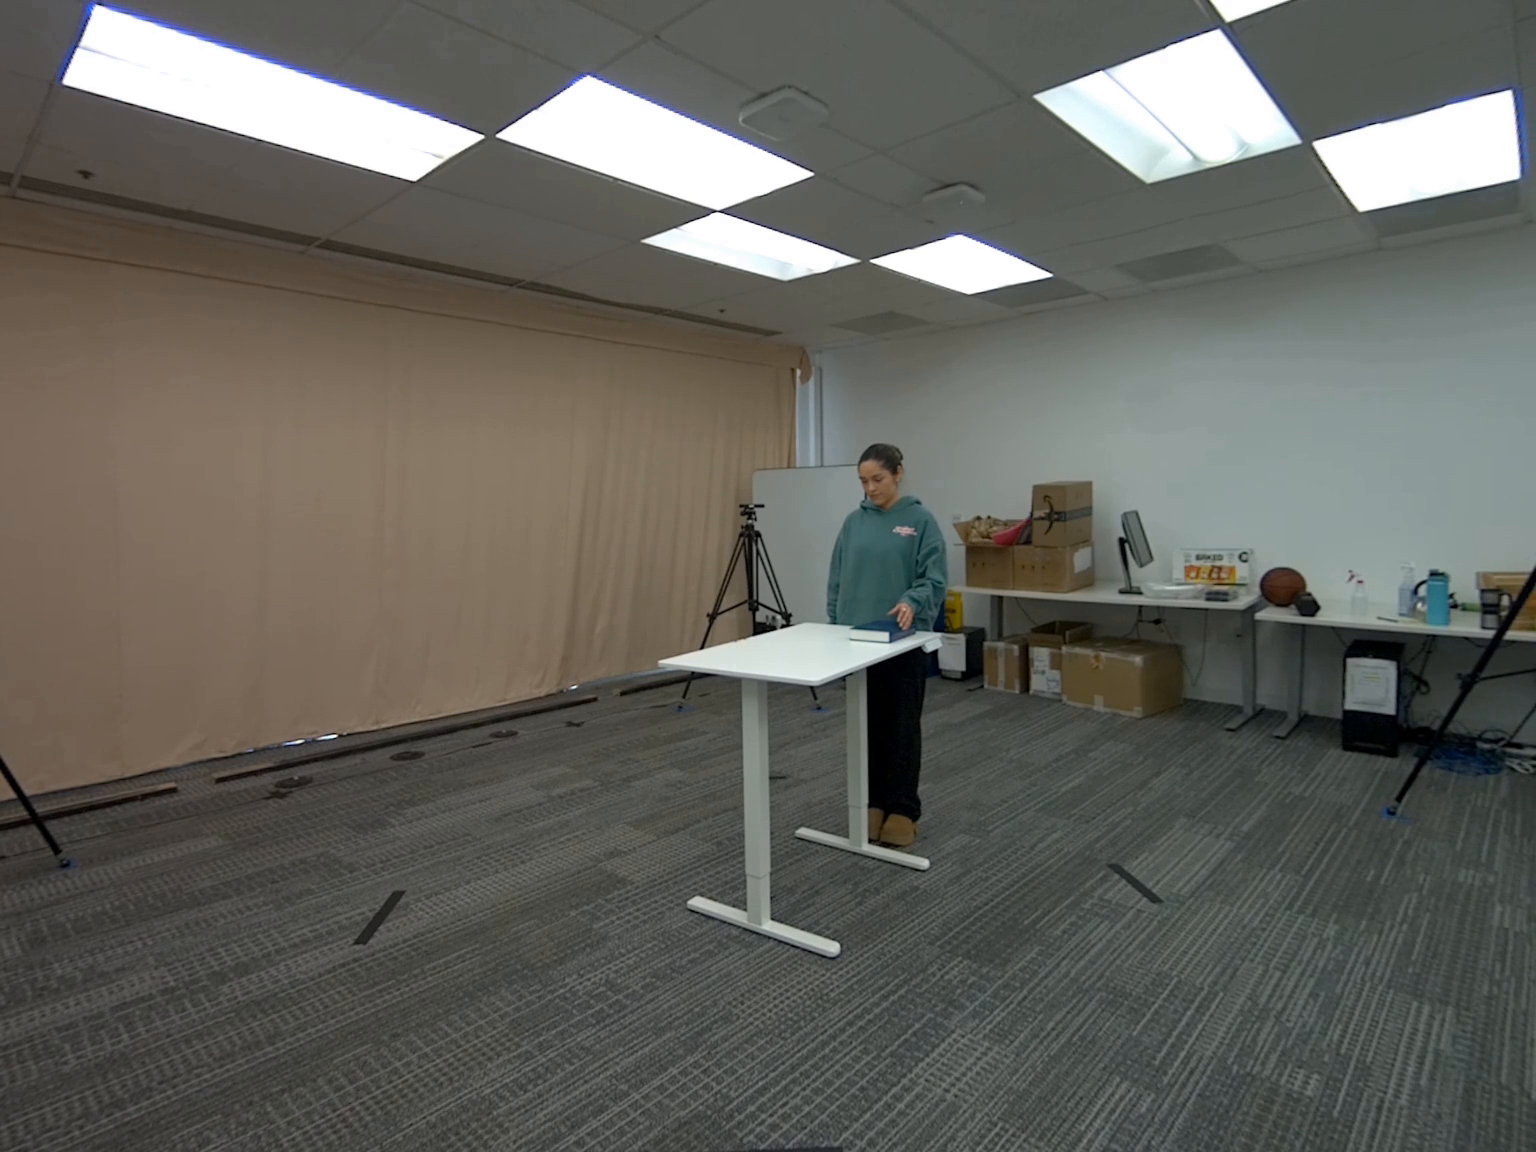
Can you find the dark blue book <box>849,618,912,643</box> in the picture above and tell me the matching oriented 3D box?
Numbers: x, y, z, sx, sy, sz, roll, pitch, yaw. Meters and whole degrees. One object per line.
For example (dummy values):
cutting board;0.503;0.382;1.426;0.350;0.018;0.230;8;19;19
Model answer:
dark blue book;0.434;0.211;3.173;0.168;0.045;0.238;3;6;32
